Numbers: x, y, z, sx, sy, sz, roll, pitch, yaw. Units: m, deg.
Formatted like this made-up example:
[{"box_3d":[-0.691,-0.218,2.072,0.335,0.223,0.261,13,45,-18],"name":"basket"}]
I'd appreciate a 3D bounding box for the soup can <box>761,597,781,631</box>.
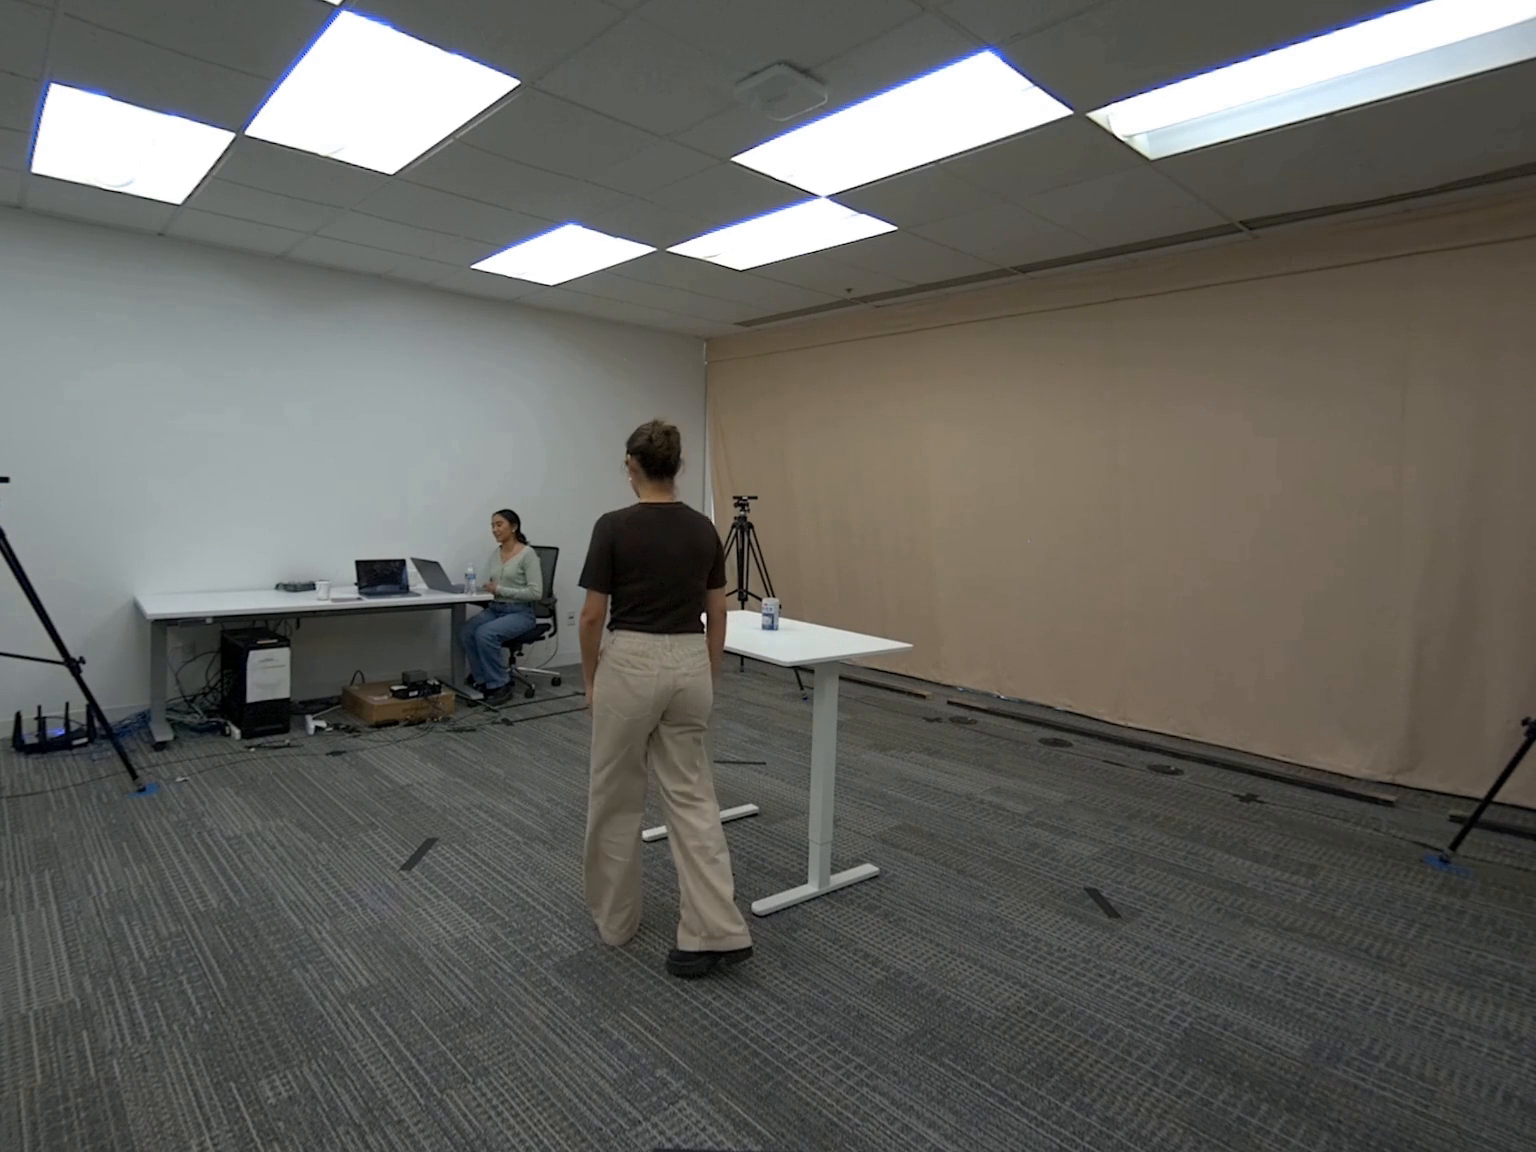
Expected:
[{"box_3d":[0.000,0.150,3.271,0.067,0.121,0.067,3,7,-2],"name":"soup can"}]
